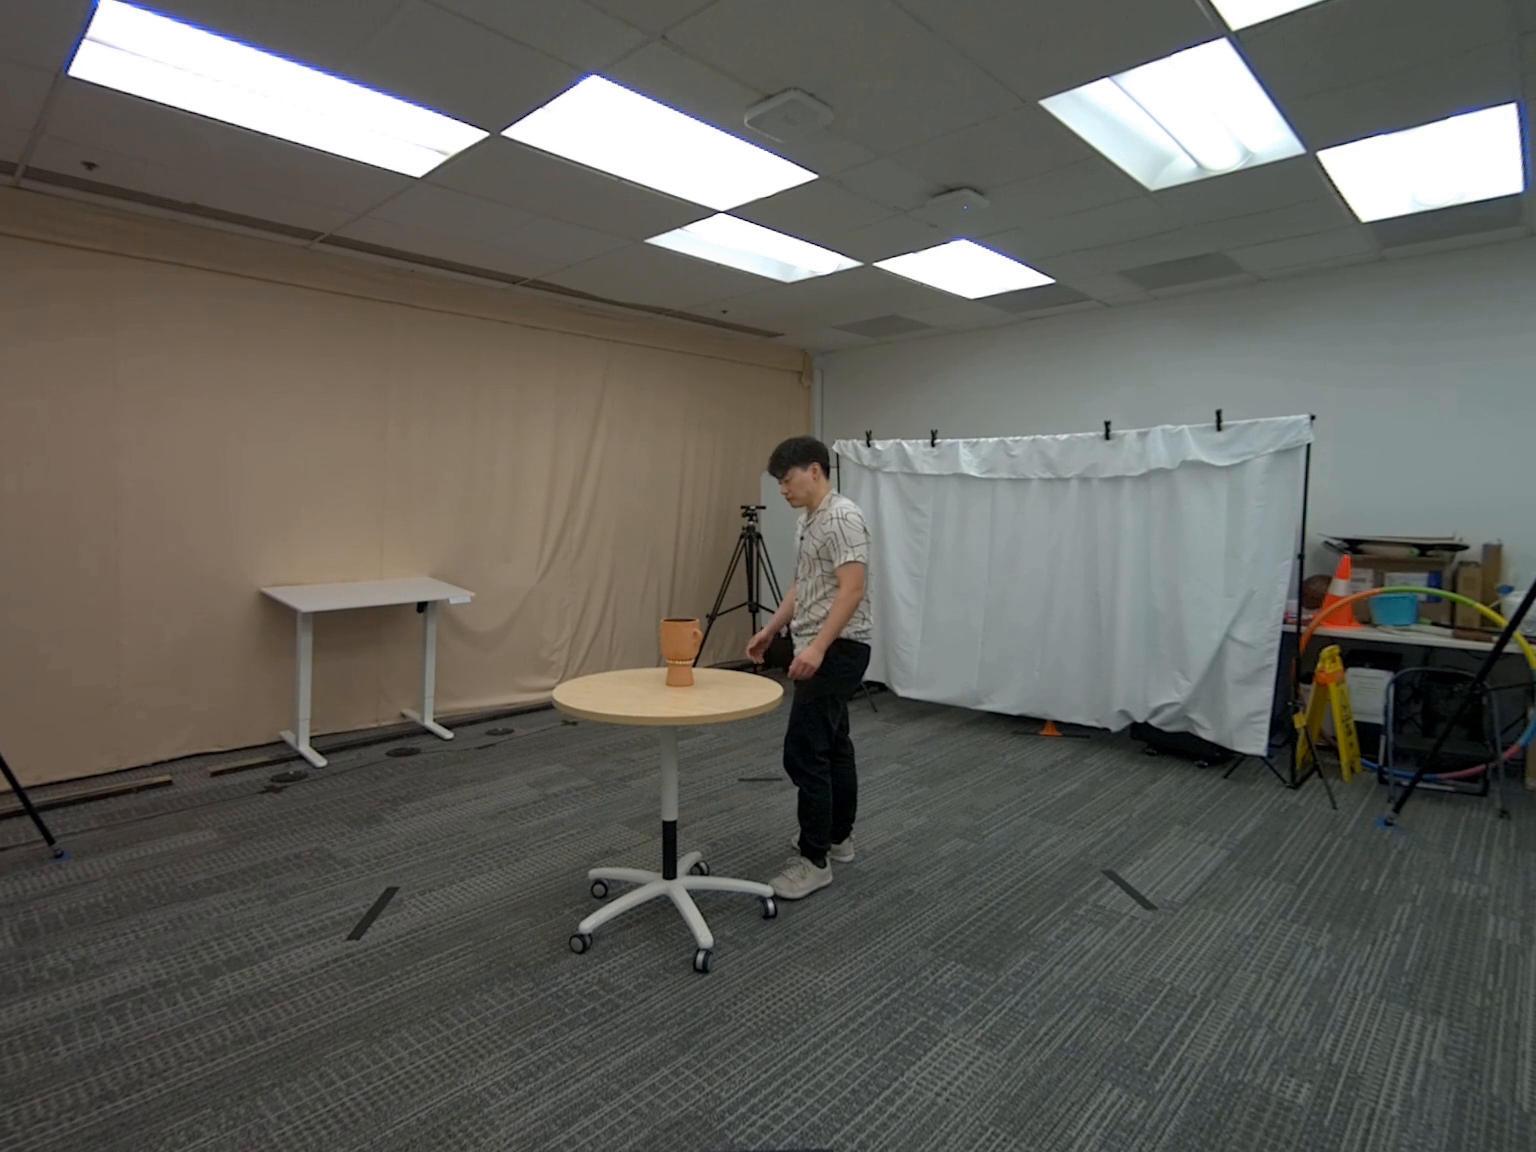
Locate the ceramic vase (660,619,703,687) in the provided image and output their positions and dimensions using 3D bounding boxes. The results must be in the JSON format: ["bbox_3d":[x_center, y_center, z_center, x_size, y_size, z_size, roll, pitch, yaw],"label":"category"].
[{"bbox_3d":[-0.302,0.265,2.885,0.133,0.219,0.161,0,2,-14],"label":"ceramic vase"}]
